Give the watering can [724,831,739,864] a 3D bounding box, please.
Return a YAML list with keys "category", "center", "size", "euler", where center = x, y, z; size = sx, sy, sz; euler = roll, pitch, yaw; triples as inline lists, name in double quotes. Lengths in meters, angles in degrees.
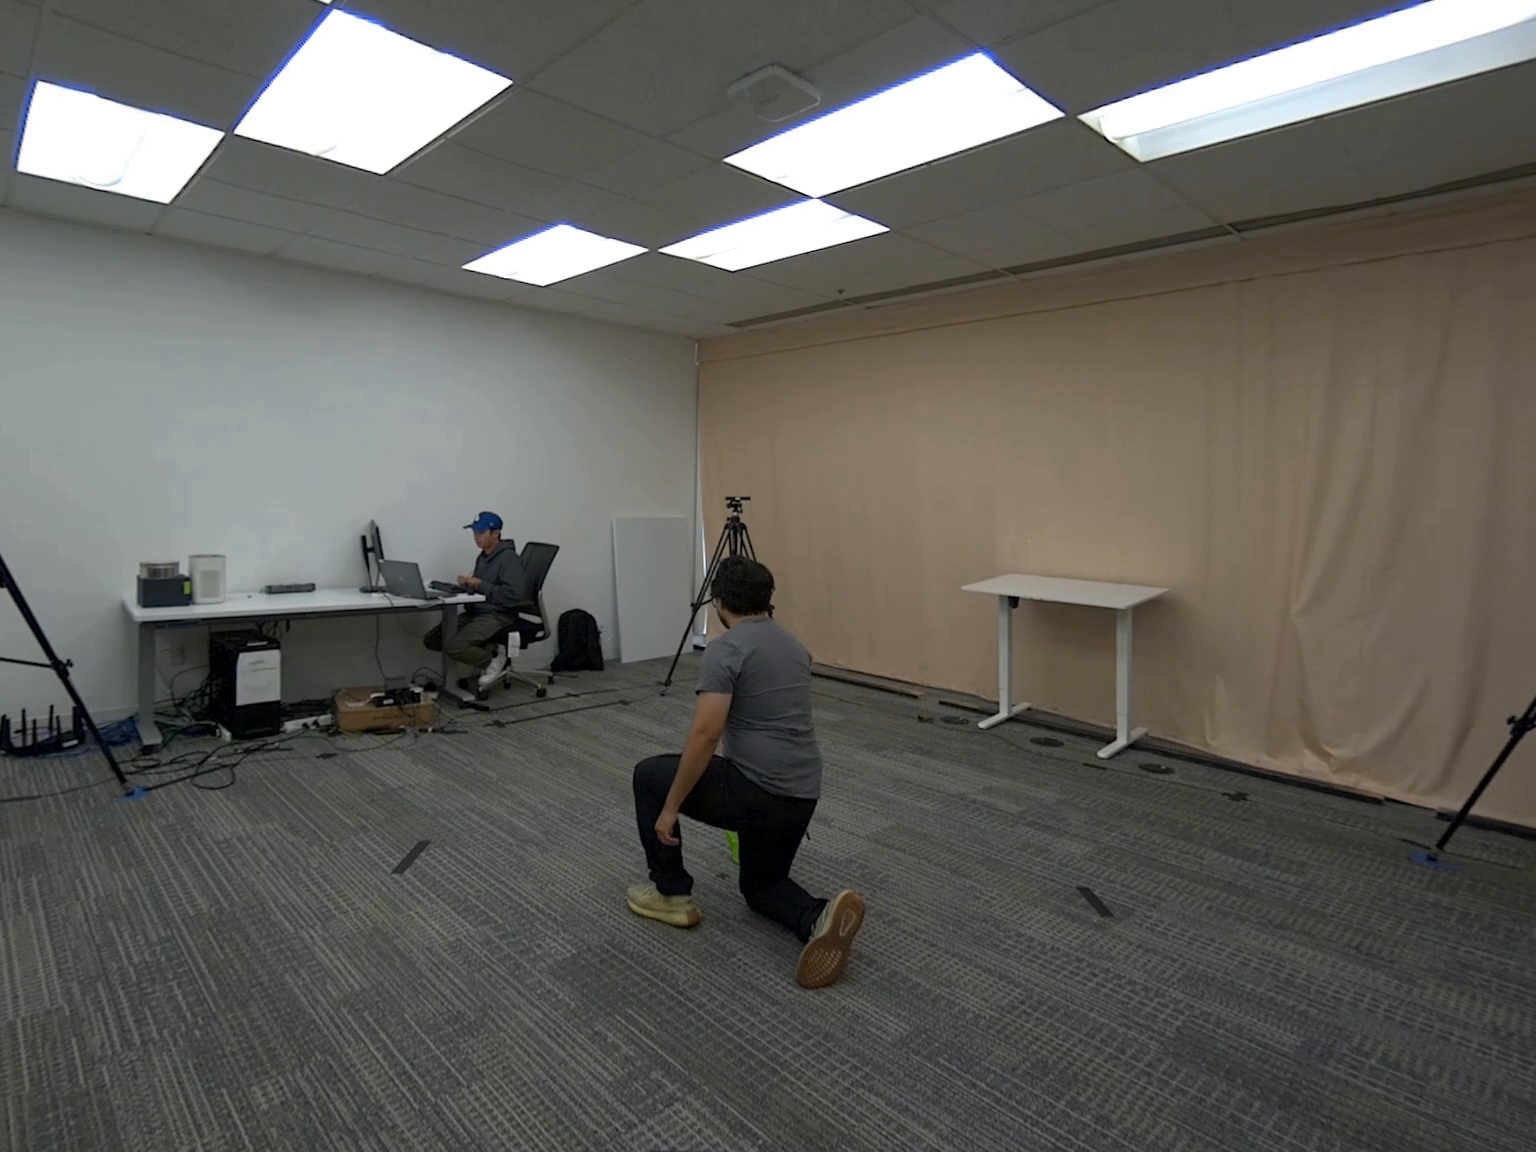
- category: "watering can"
  center: [-0.110, 1.009, 3.248]
  size: [0.285, 0.176, 0.096]
  euler: [5, 5, 42]
